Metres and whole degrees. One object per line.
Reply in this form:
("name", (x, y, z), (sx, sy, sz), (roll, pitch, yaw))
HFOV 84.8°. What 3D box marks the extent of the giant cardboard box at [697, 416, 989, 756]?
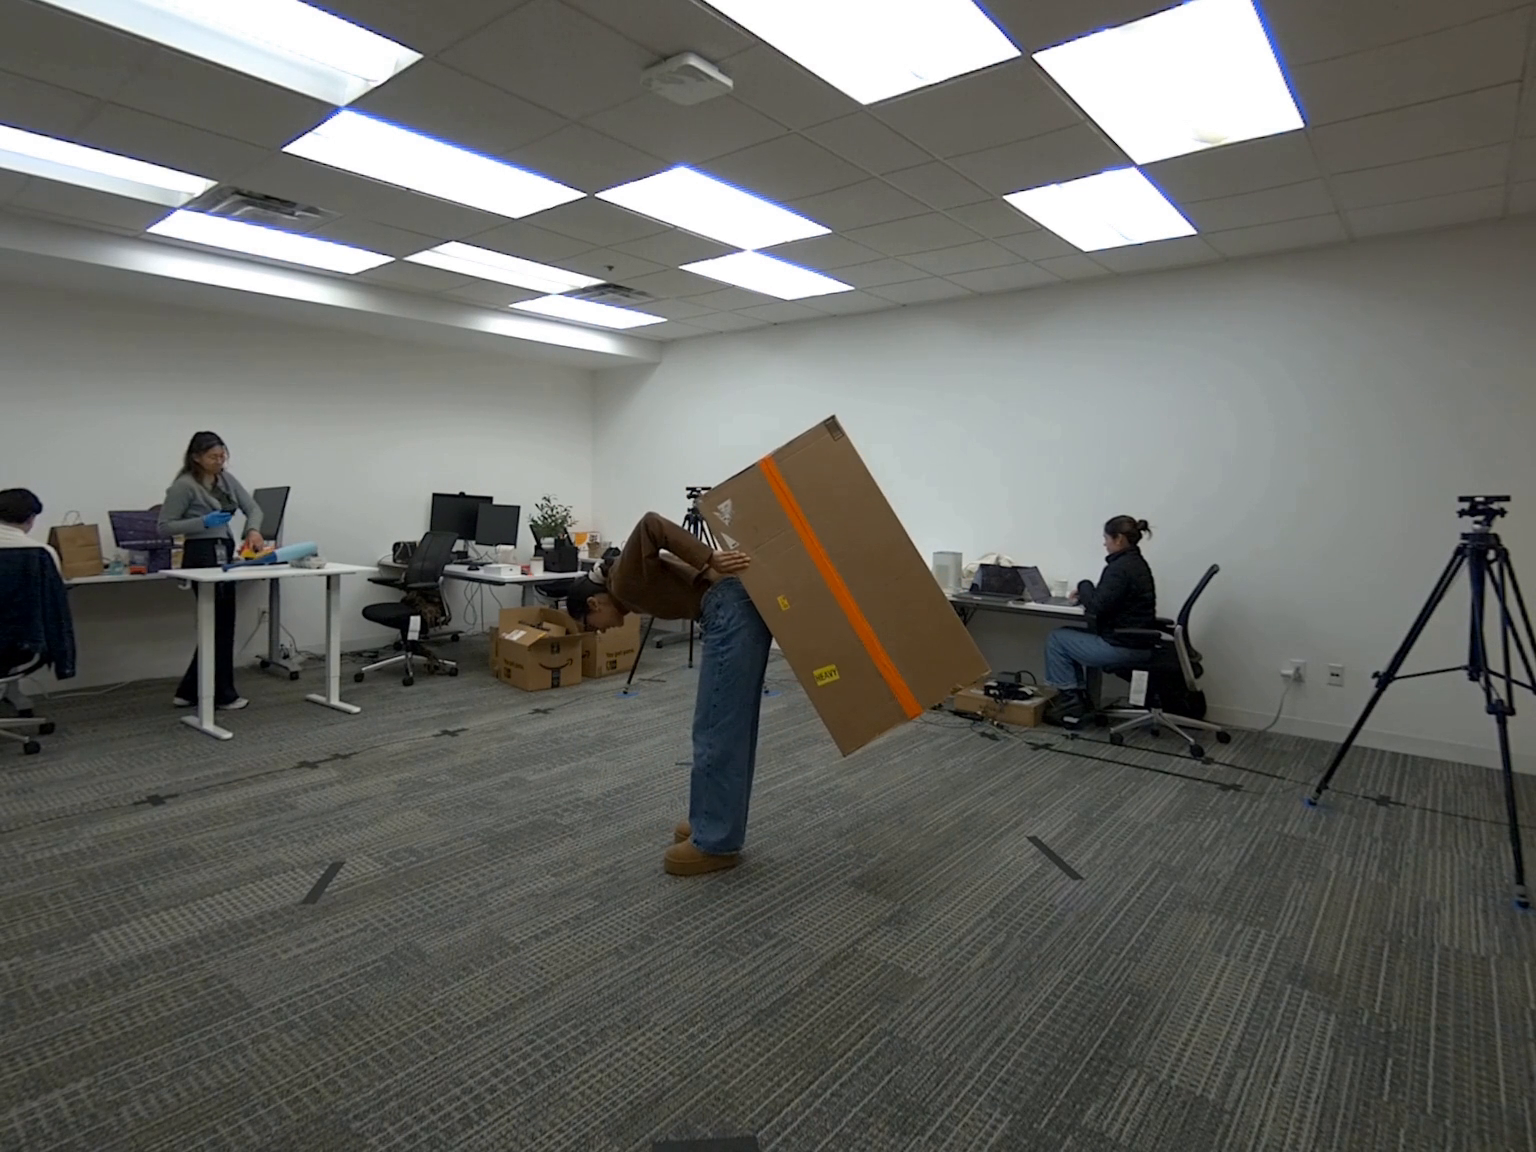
("giant cardboard box", (0.252, 0.029, 3.109), (0.585, 1.038, 0.442), (-31, -7, 4))
